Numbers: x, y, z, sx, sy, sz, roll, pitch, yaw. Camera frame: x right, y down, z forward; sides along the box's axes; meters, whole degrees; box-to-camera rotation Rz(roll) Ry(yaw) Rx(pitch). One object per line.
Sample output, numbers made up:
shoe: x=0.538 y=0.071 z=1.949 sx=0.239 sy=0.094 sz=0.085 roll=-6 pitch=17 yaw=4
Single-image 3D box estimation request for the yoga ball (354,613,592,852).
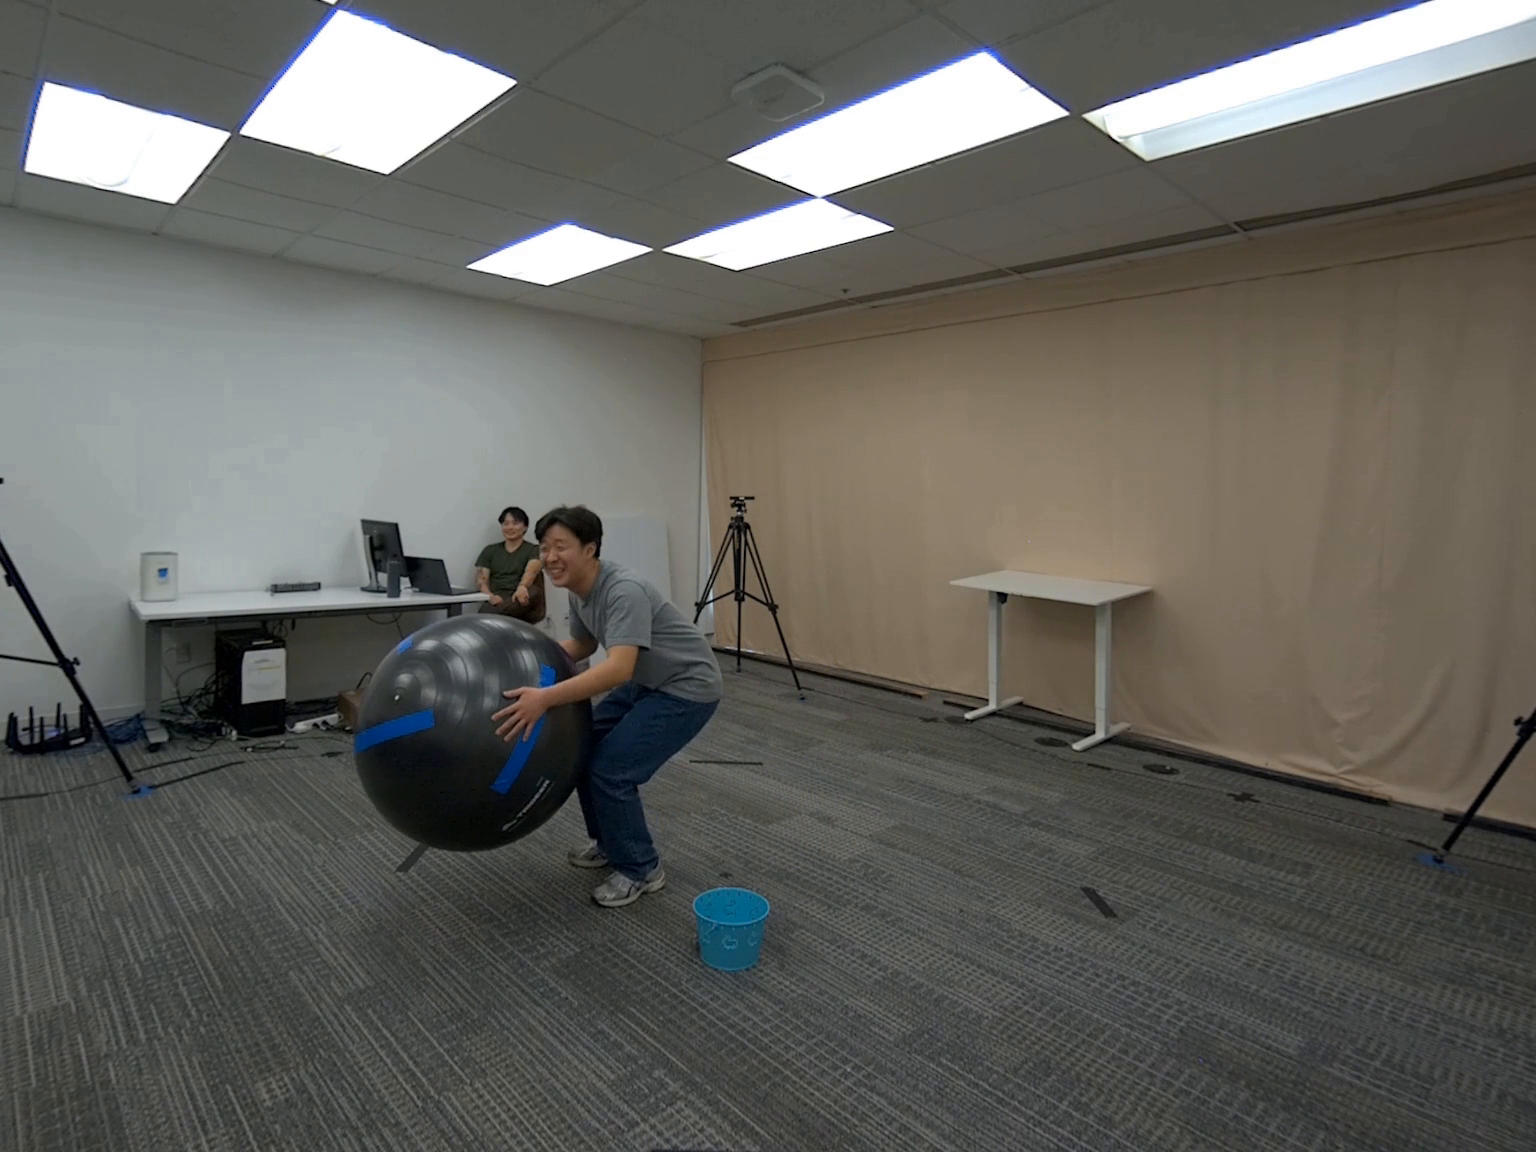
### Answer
yoga ball: x=-0.973 y=0.516 z=2.778 sx=0.757 sy=0.756 sz=0.761 roll=1 pitch=4 yaw=-1
